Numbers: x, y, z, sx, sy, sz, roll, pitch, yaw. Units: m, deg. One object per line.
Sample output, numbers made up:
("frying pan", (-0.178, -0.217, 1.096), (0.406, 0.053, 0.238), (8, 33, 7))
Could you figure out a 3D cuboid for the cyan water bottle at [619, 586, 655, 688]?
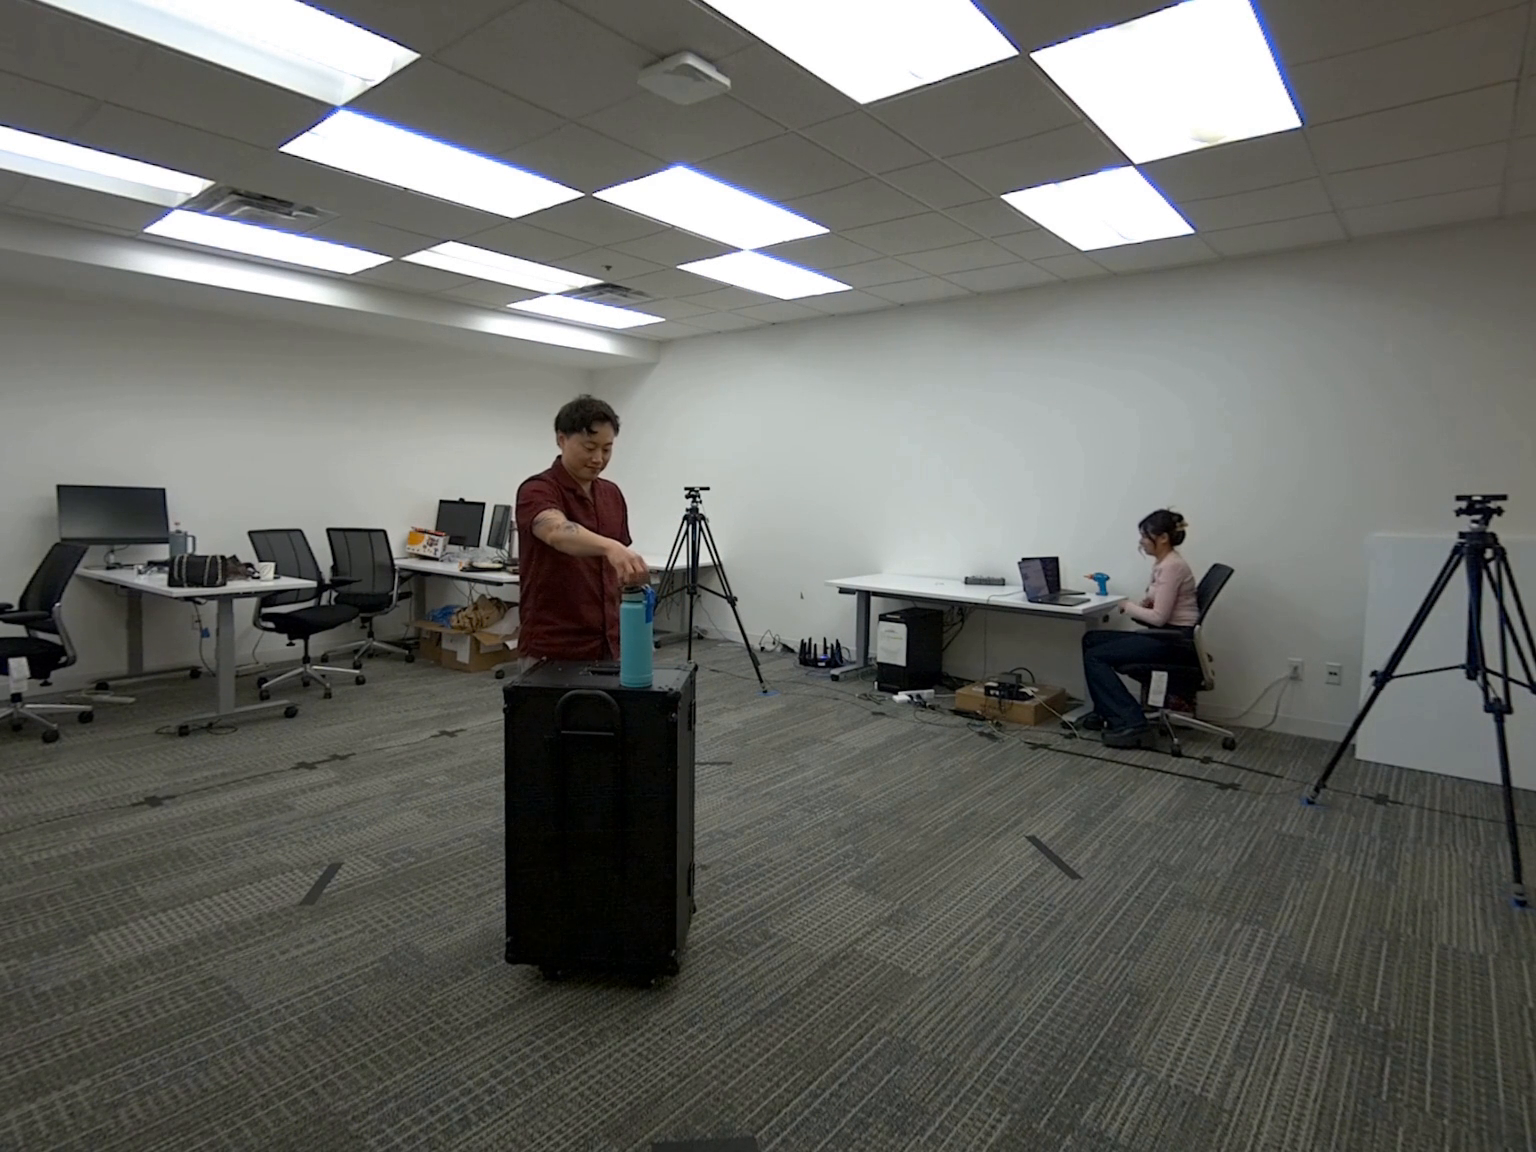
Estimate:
("cyan water bottle", (-0.365, 0.156, 2.325), (0.092, 0.282, 0.093), (0, 4, -2))
